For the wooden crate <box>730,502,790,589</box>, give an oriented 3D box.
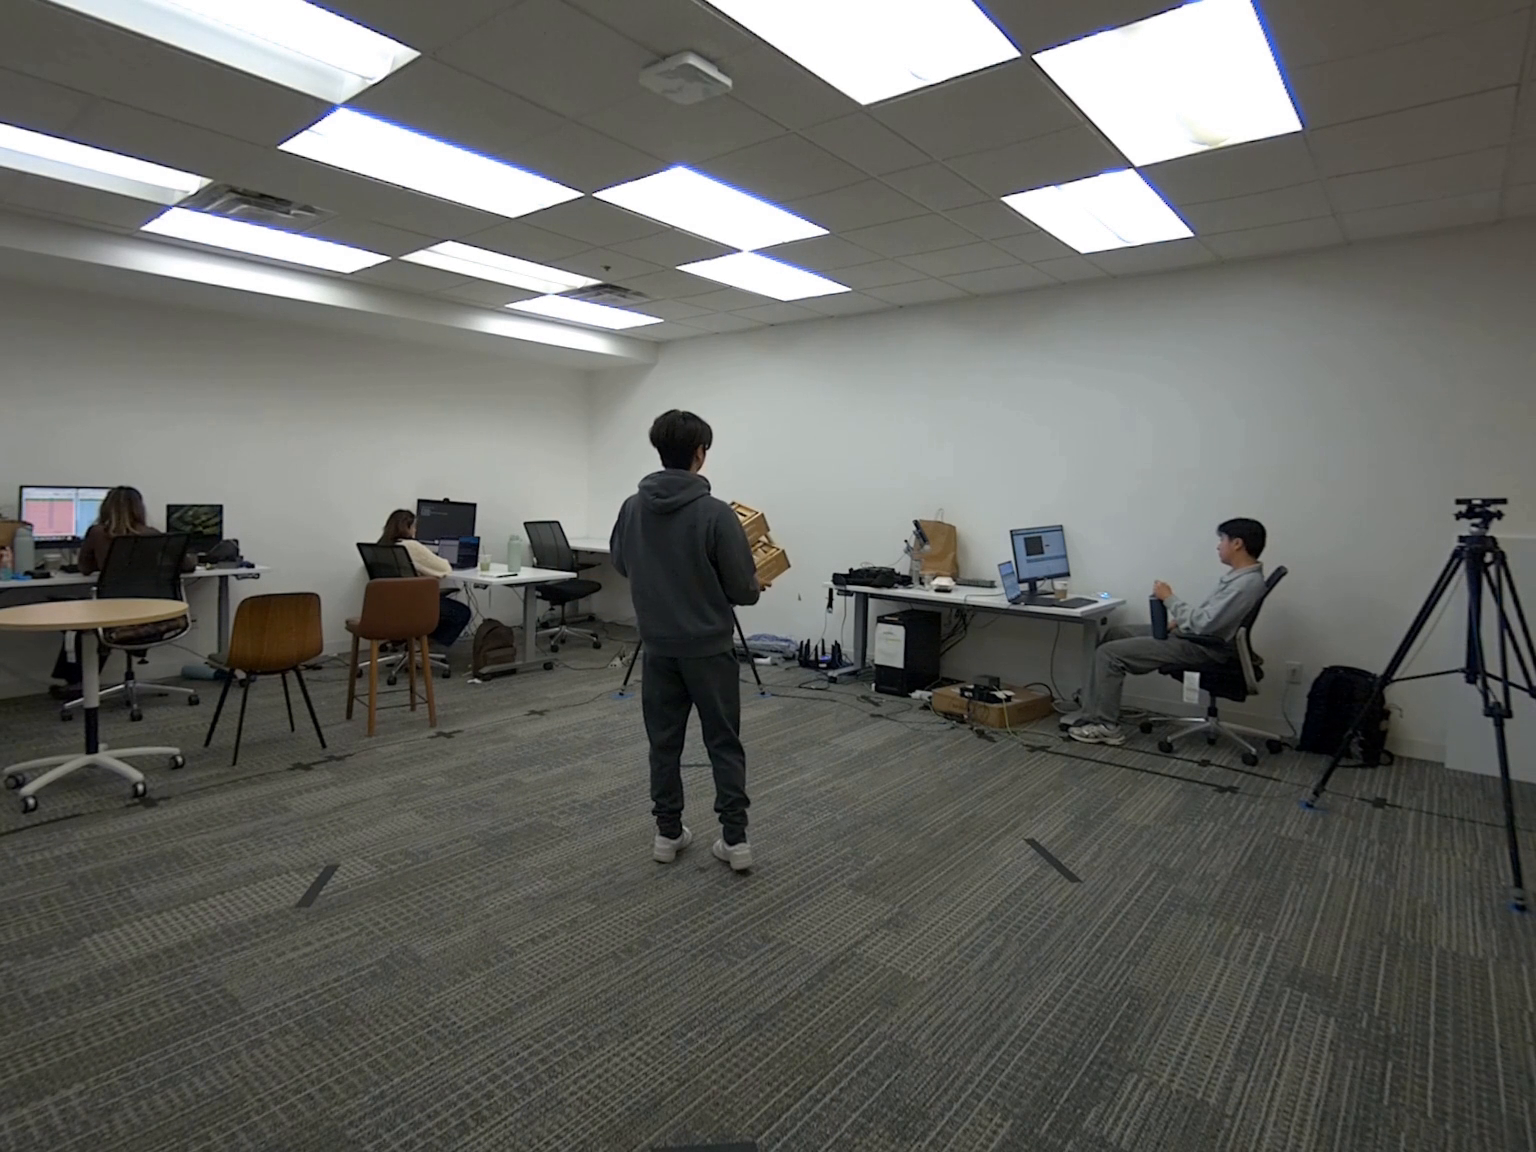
[{"bbox_3d":[-0.147,-0.099,3.499,0.322,0.264,0.314,-35,32,-20],"label":"wooden crate"}]
